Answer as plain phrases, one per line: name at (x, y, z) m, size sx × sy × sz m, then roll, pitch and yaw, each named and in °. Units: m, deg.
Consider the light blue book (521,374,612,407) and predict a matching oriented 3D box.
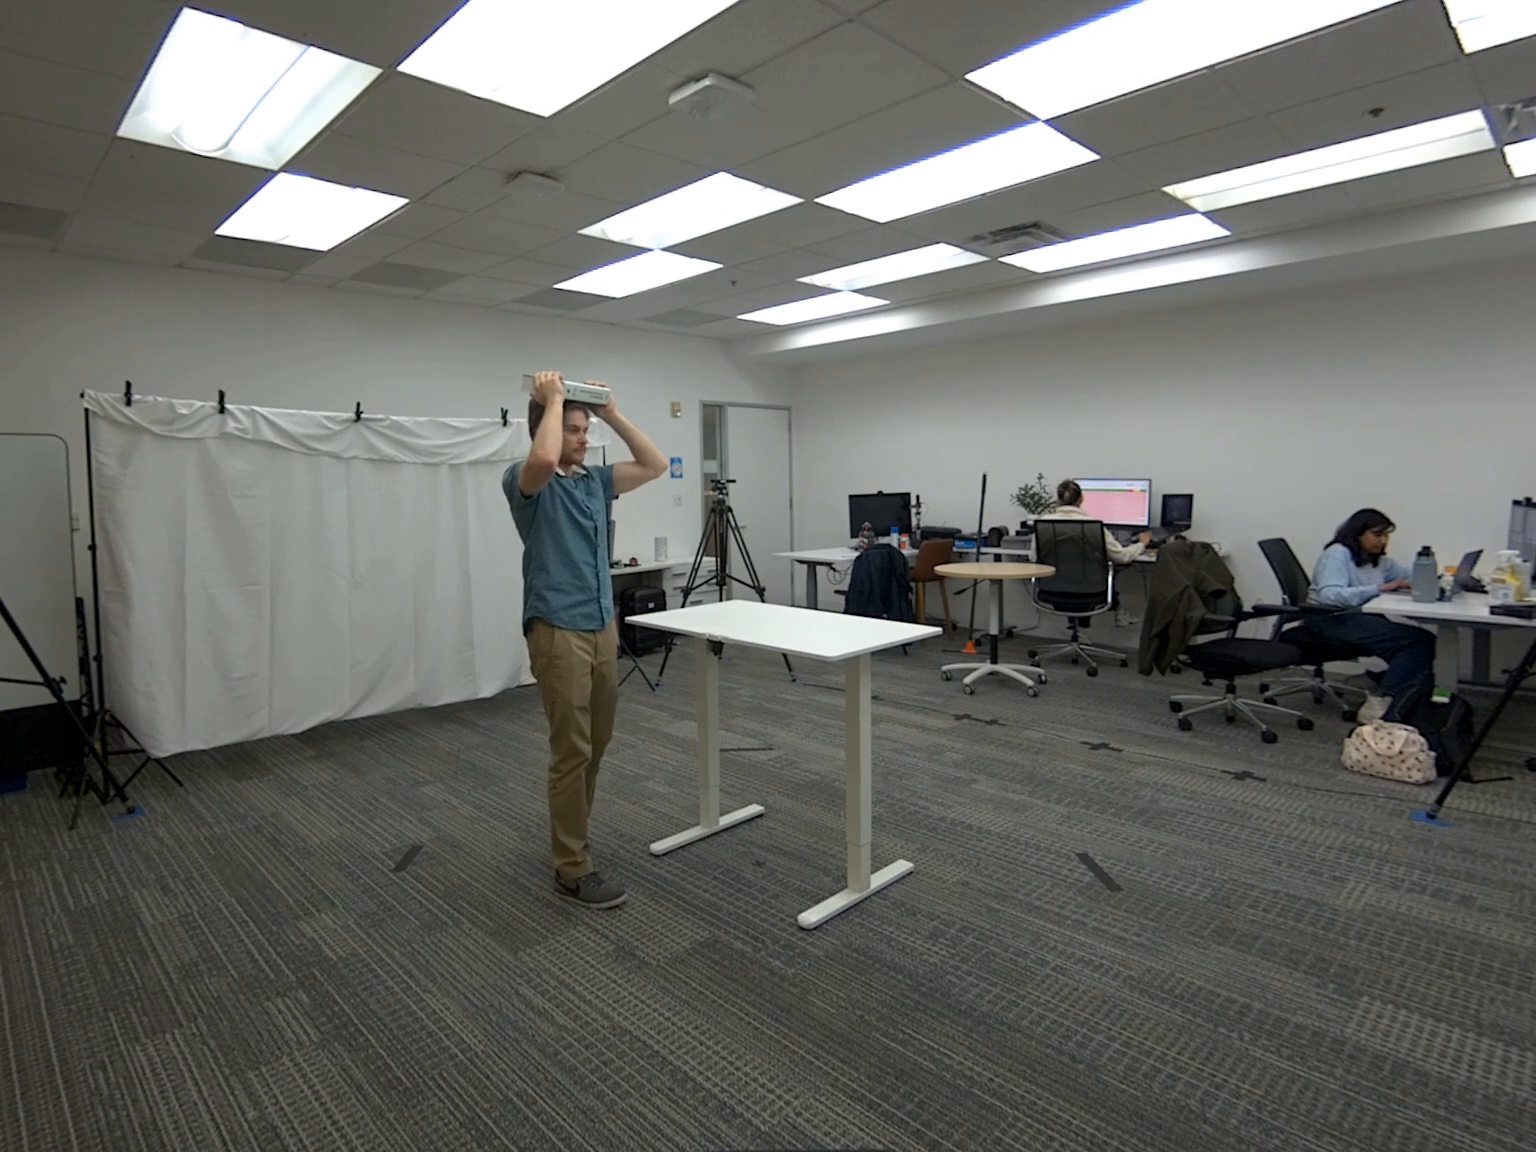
light blue book at (-0.689, -0.637, 2.938) m, size 0.196 × 0.058 × 0.256 m, roll 16°, pitch 12°, yaw 24°
